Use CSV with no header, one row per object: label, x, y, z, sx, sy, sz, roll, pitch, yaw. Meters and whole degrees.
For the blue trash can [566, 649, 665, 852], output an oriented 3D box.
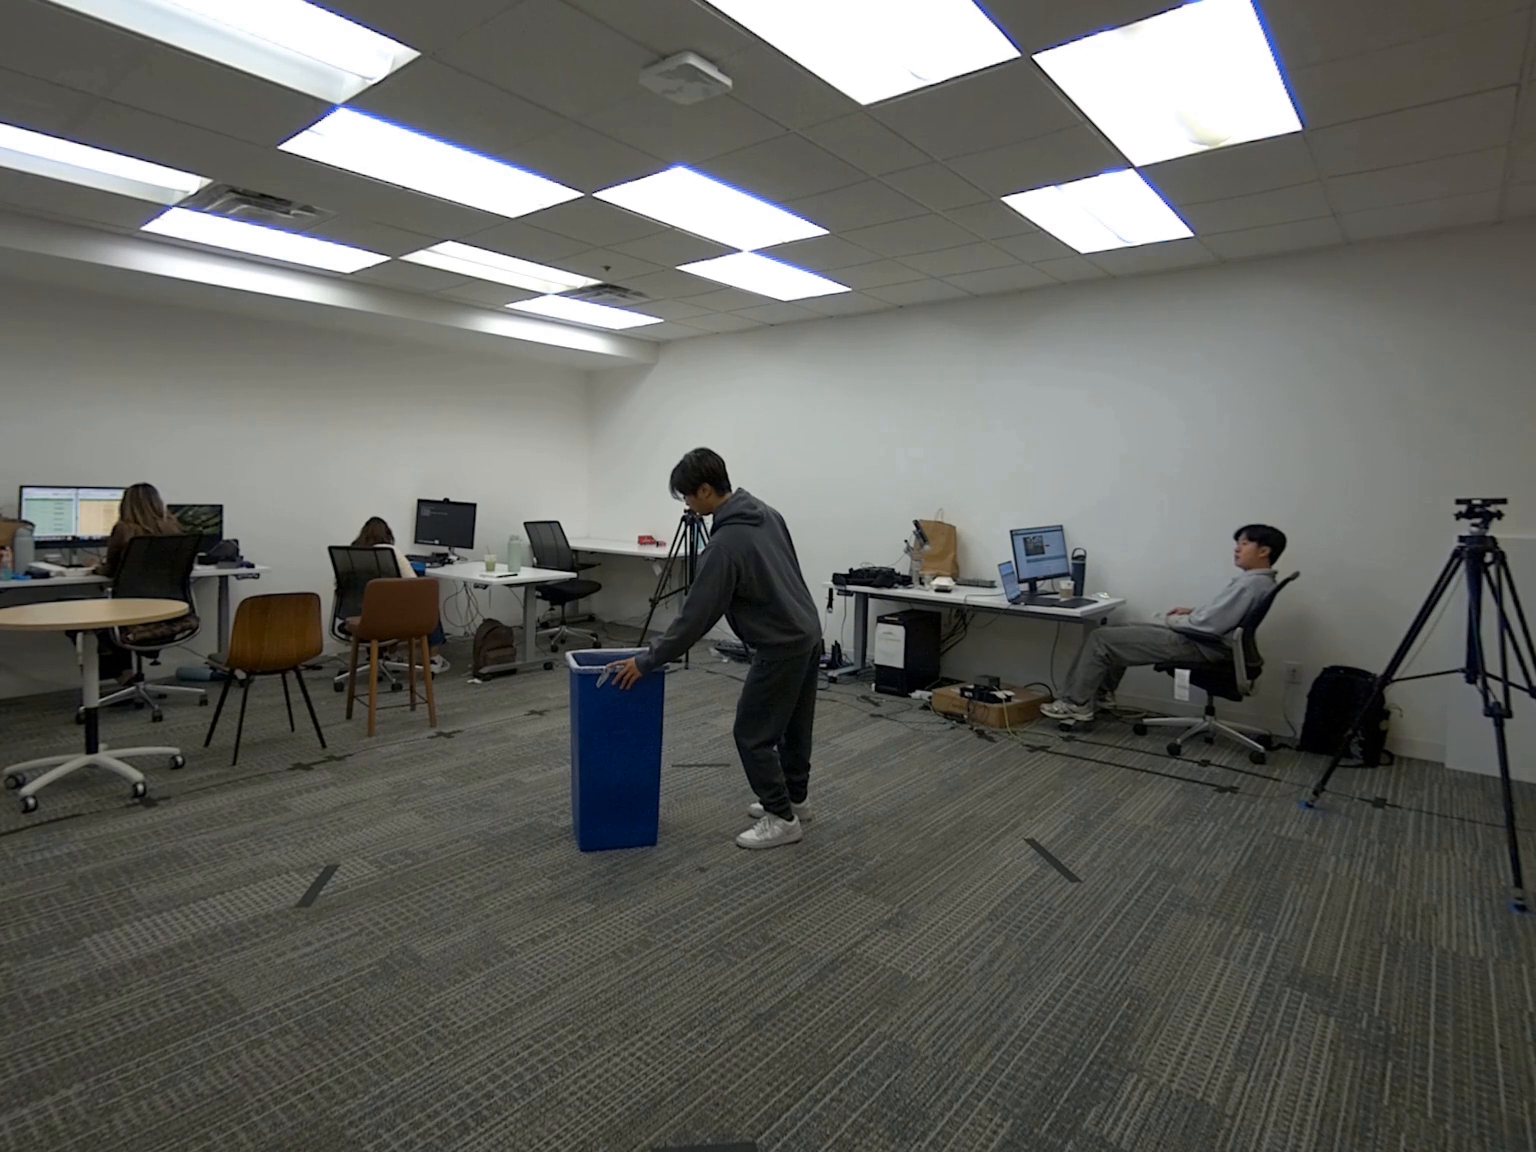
blue trash can,-0.631,0.681,3.409,0.372,0.711,0.381,0,3,-17
